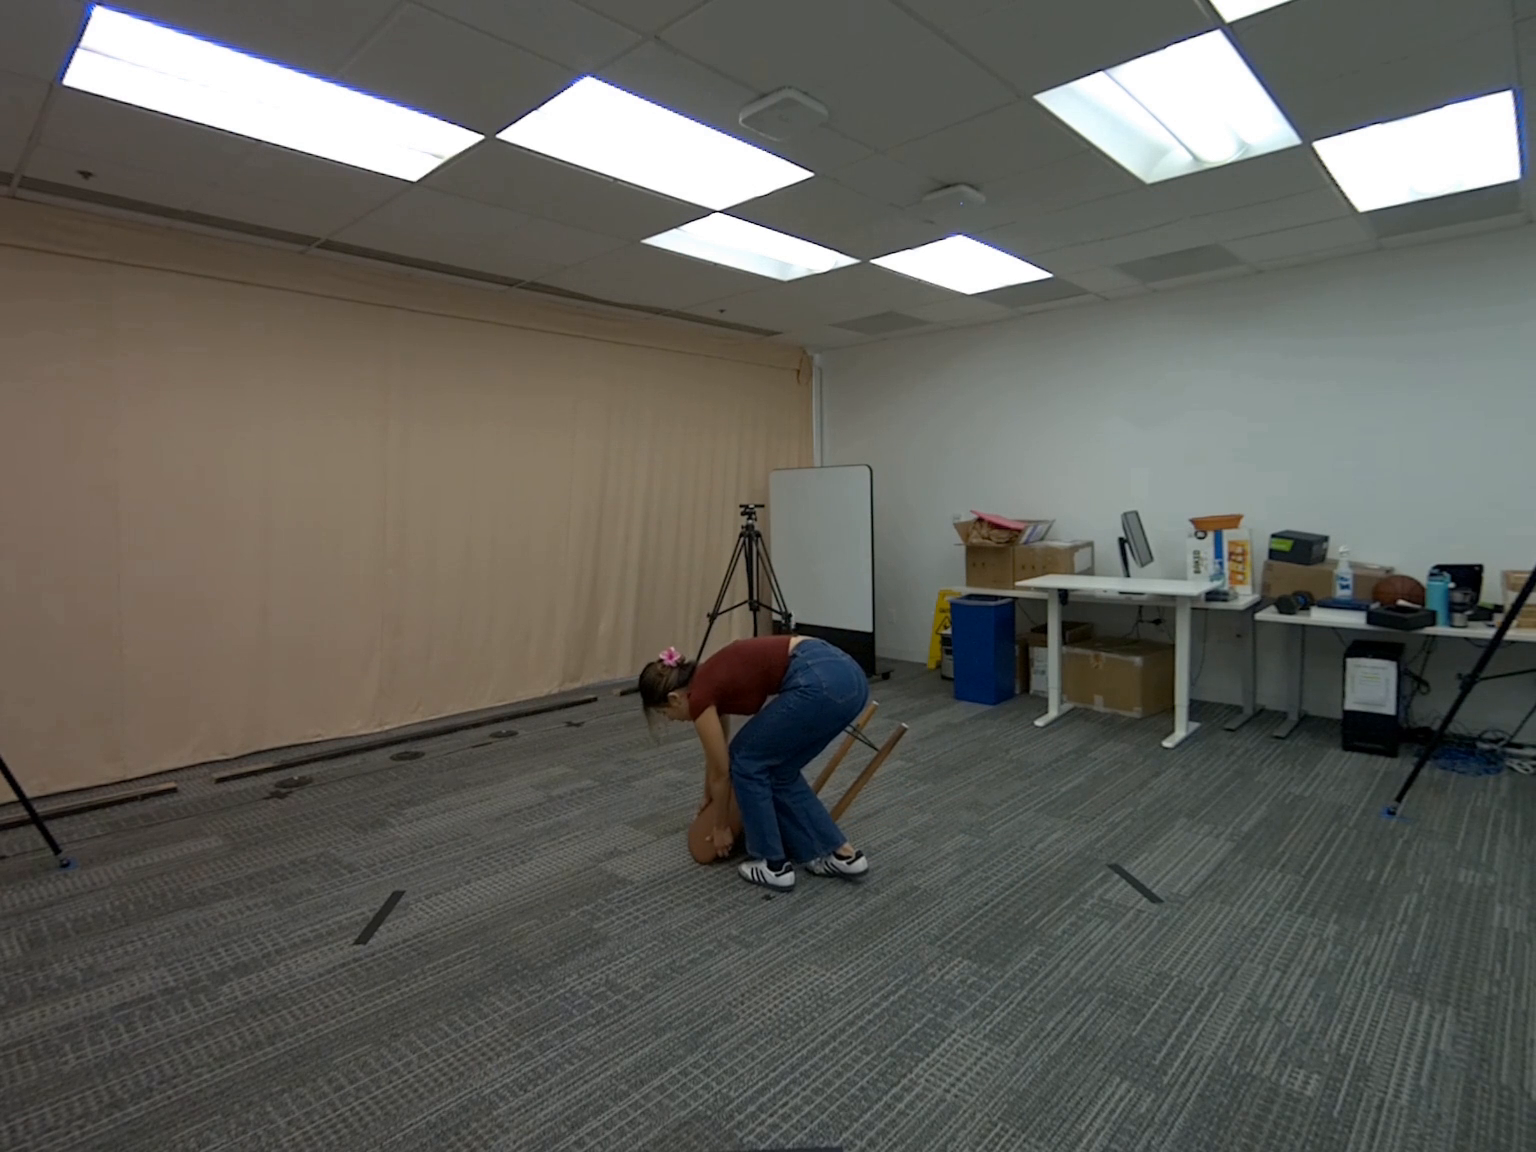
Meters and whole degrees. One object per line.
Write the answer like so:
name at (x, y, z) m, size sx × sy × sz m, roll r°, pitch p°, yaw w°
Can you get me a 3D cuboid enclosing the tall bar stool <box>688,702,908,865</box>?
tall bar stool at (0.102, 0.837, 3.475) m, size 0.463 × 0.889 × 0.461 m, roll 33°, pitch -2°, yaw -9°
